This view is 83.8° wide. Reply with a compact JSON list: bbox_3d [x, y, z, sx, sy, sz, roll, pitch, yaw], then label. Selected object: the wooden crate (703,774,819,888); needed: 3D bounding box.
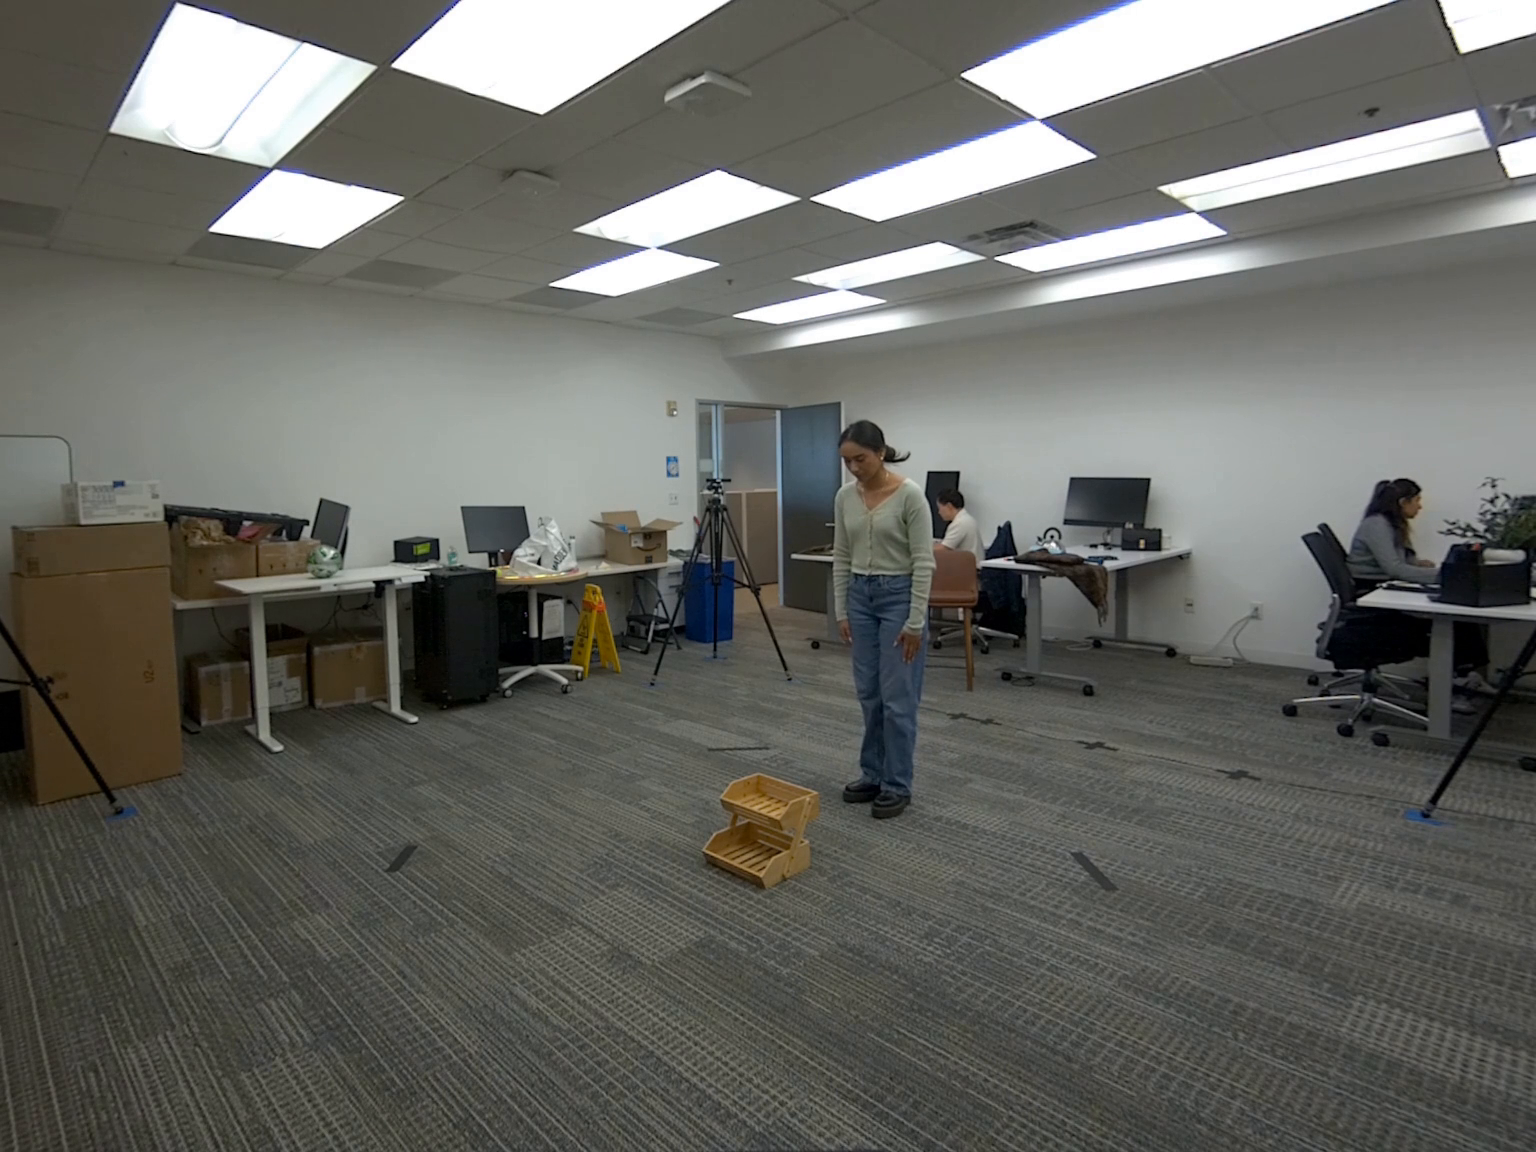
[{"bbox_3d":[-0.026,0.909,3.100,0.334,0.272,0.294,4,6,44],"label":"wooden crate"}]
